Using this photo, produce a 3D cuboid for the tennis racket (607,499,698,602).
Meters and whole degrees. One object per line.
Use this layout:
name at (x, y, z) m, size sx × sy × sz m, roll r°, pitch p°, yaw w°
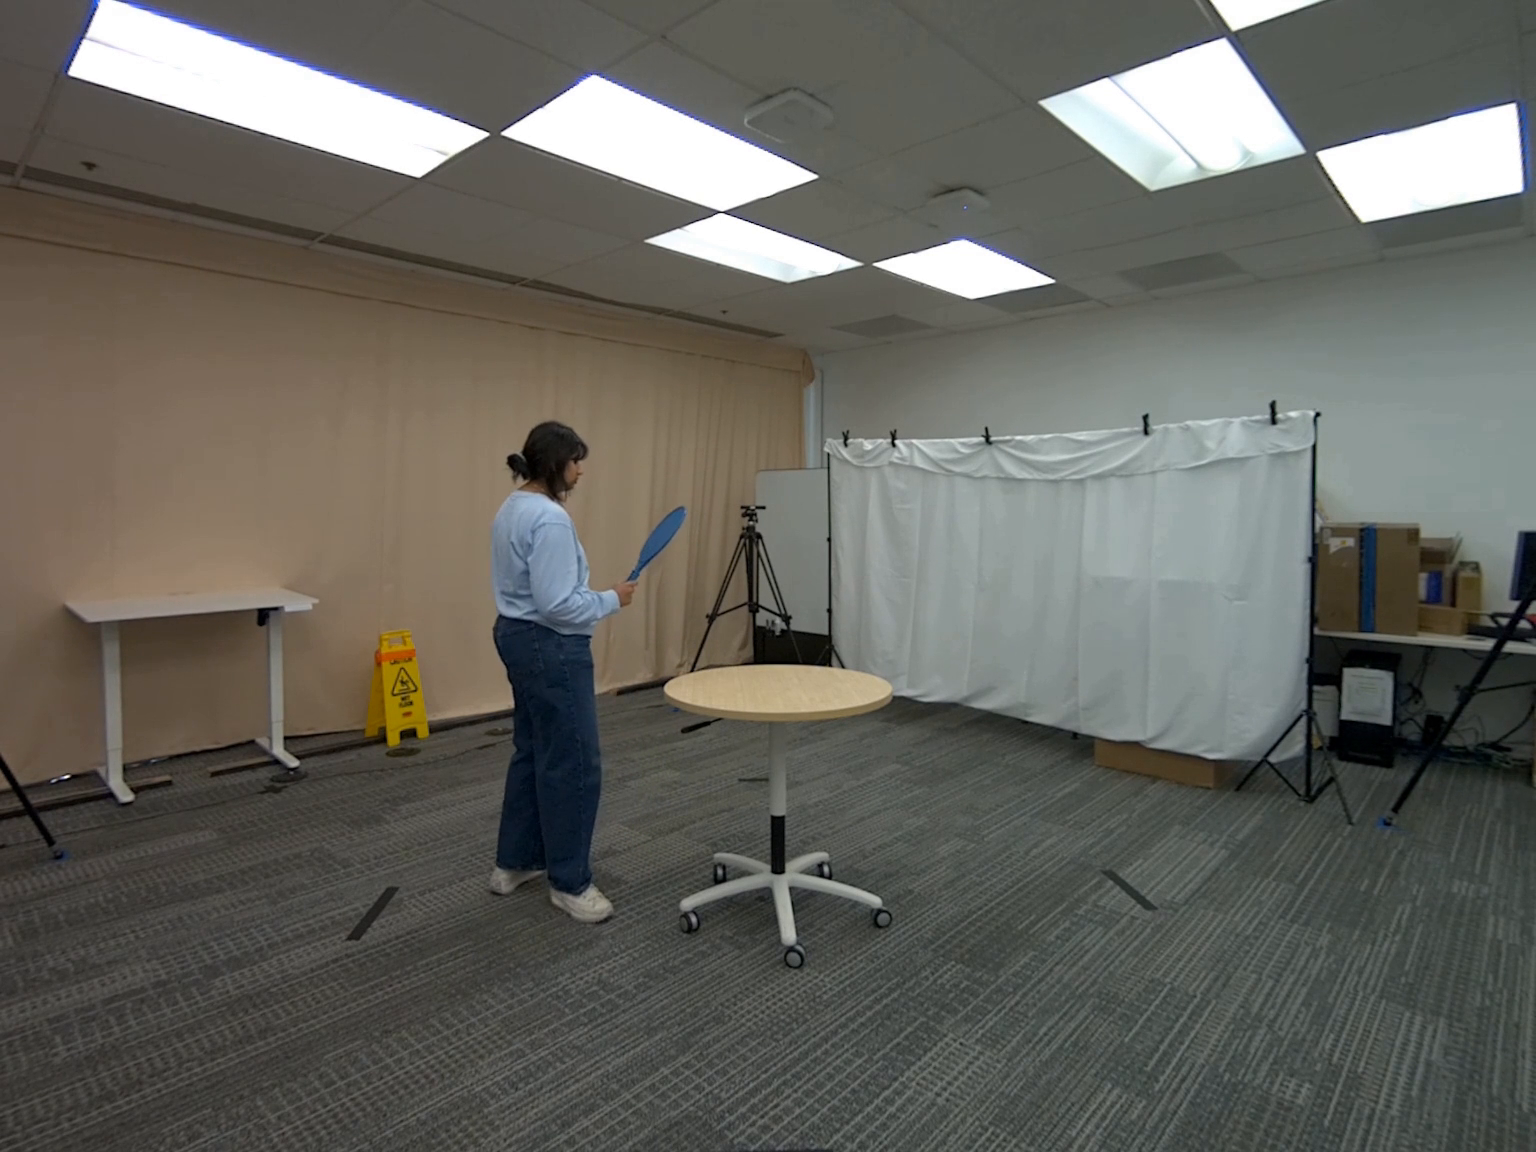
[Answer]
tennis racket at (-0.432, -0.092, 3.087) m, size 0.031 × 0.433 × 0.220 m, roll 42°, pitch -26°, yaw -27°
